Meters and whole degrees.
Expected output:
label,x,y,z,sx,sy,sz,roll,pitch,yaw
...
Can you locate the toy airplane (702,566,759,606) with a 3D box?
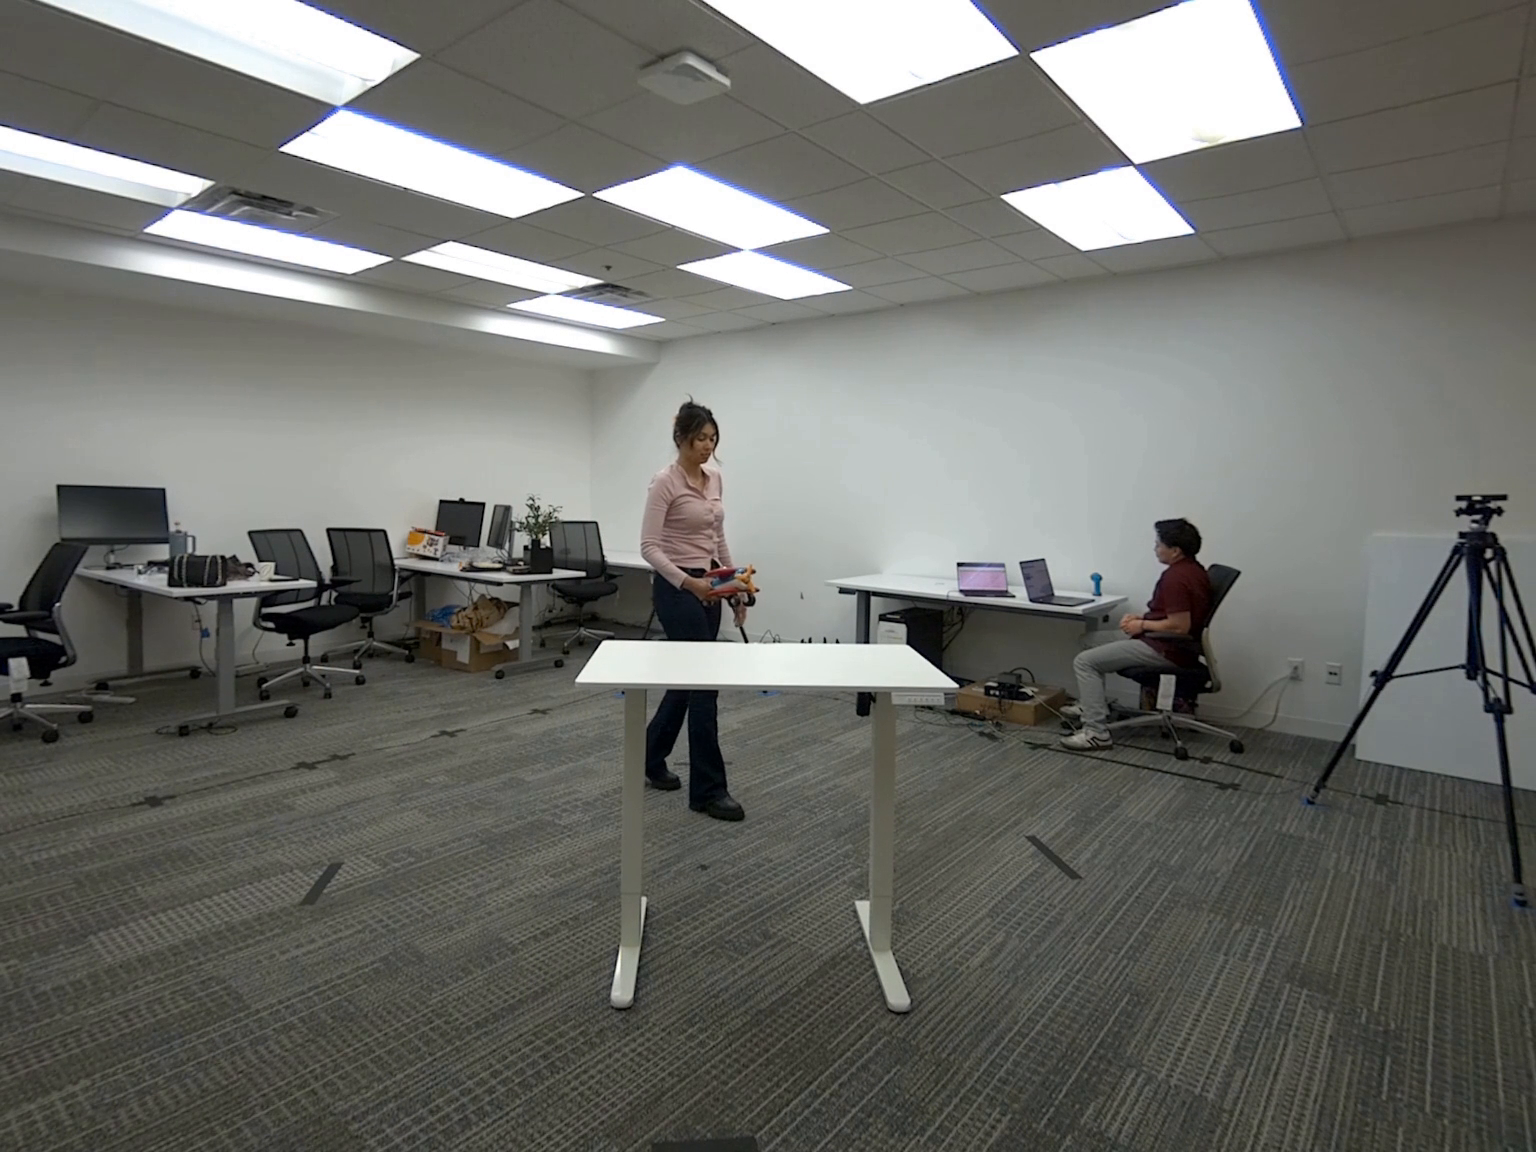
label,x,y,z,sx,sy,sz,roll,pitch,yaw
toy airplane,-0.193,0.044,3.408,0.264,0.156,0.247,-1,1,15
